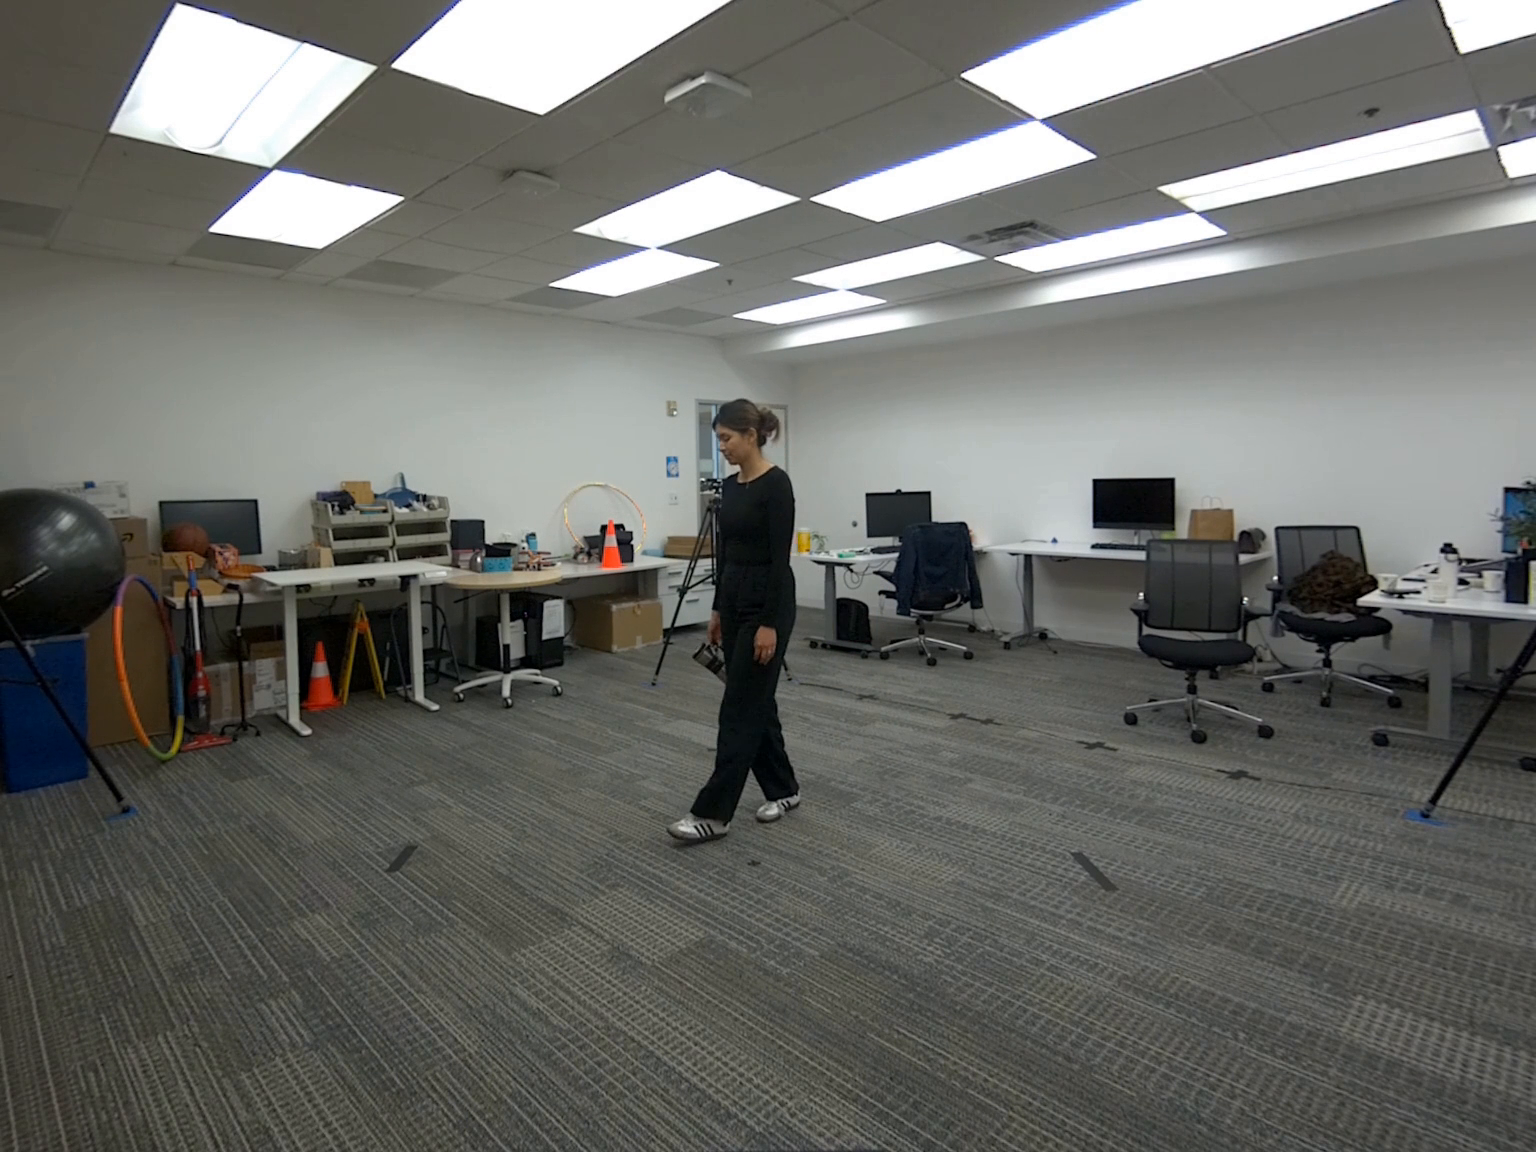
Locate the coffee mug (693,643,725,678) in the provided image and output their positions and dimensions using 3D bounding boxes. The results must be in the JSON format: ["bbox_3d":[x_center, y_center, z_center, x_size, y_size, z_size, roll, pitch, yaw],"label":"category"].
[{"bbox_3d":[-0.218,0.369,3.686,0.203,0.122,0.087,39,-25,0],"label":"coffee mug"}]
